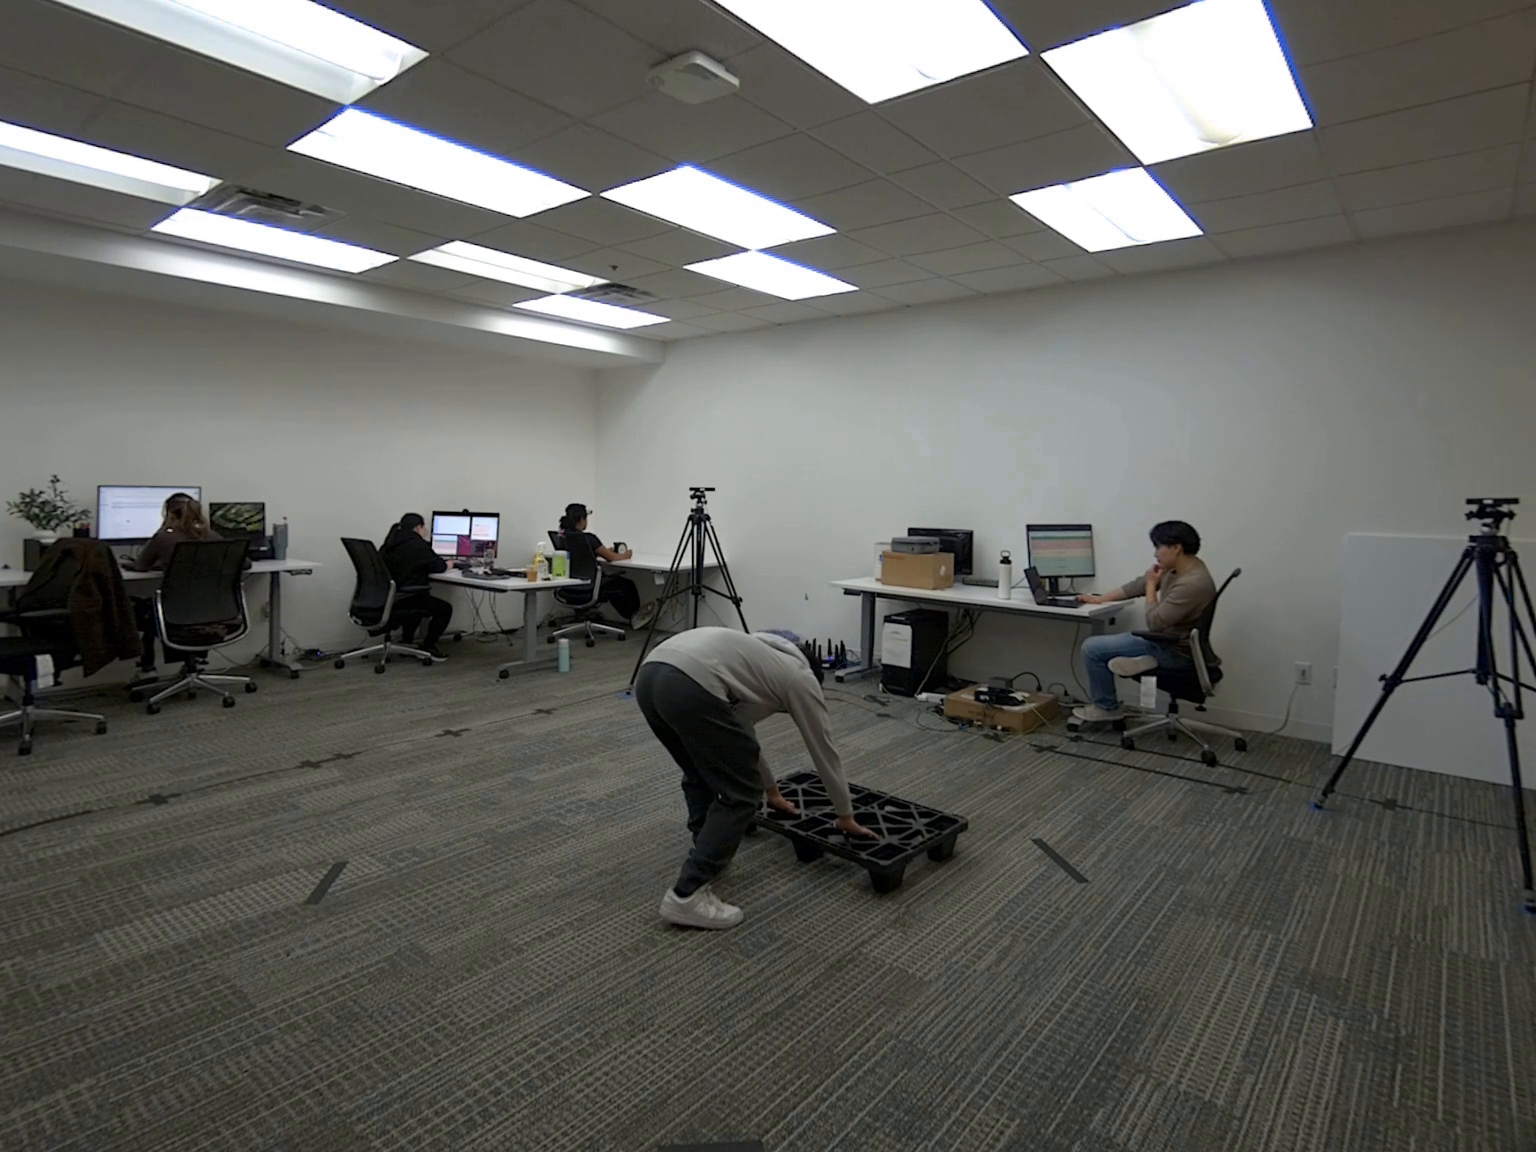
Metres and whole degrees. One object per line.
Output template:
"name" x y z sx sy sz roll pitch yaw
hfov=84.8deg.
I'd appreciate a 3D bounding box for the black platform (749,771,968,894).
"black platform" 0.275 0.987 3.349 0.833 0.143 0.587 6 8 42
